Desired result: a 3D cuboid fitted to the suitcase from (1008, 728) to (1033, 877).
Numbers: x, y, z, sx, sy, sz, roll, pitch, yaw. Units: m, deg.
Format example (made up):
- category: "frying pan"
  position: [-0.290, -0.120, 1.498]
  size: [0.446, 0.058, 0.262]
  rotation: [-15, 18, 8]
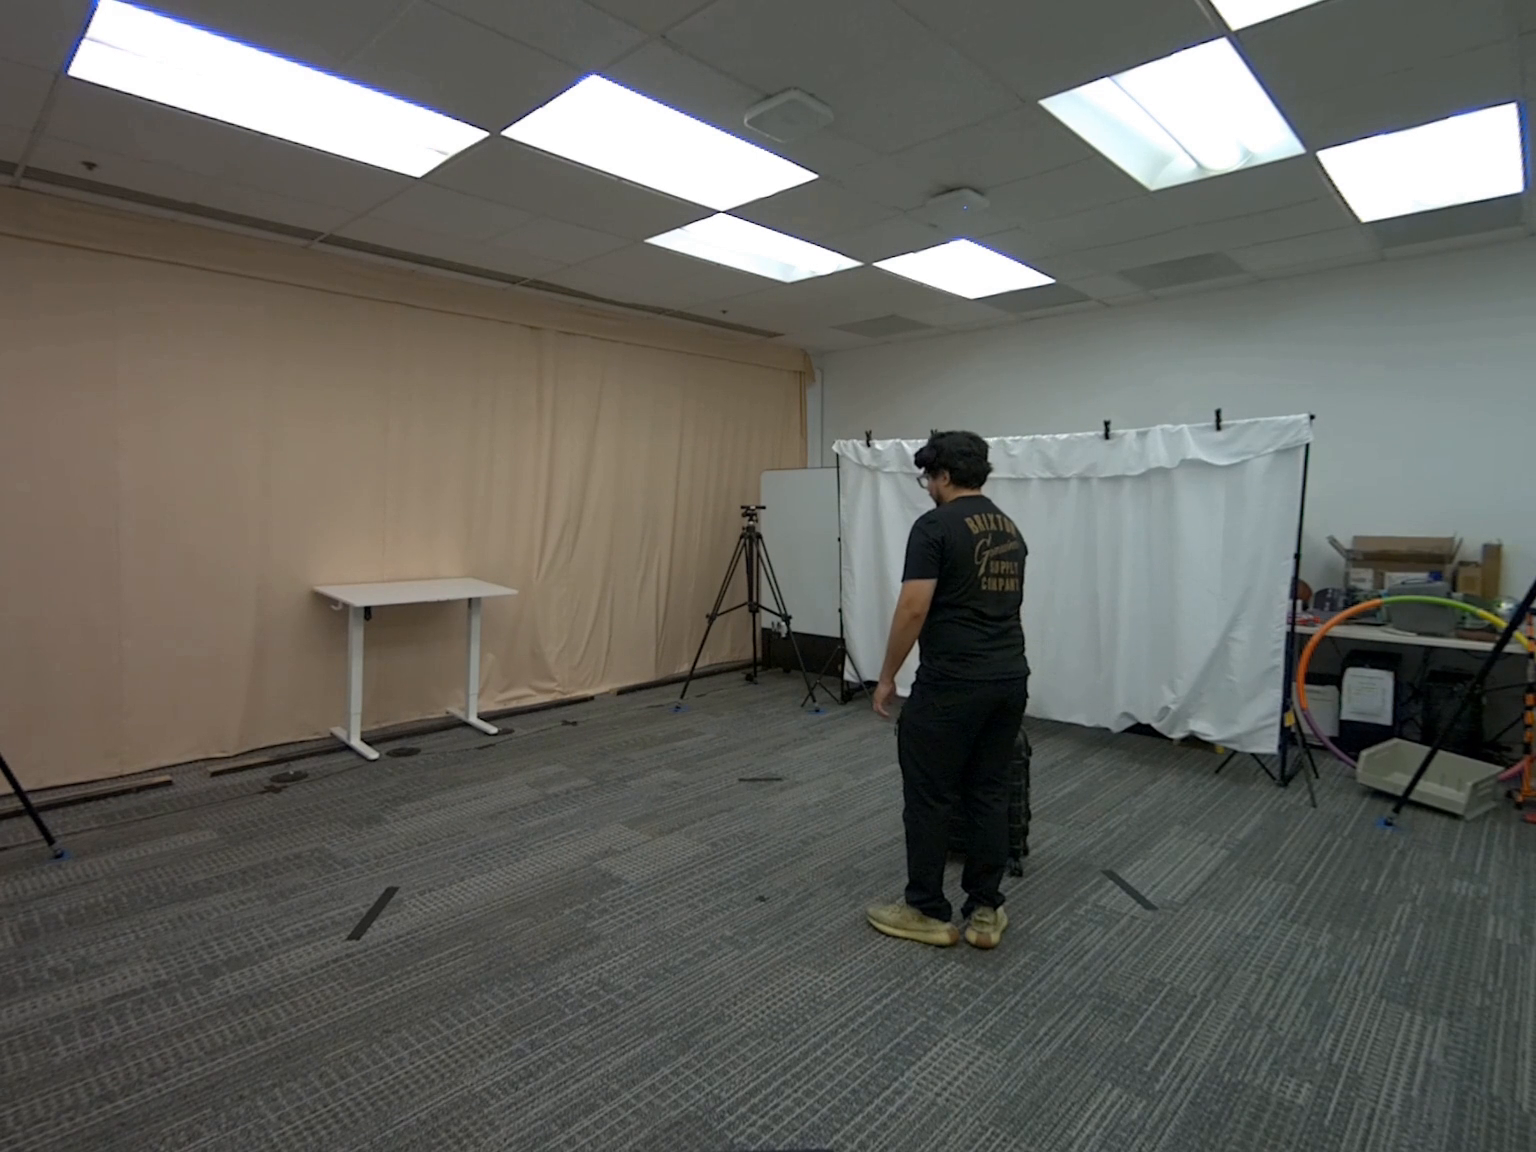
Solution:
- category: "suitcase"
  position: [0.842, 0.636, 3.331]
  size: [0.392, 0.979, 0.251]
  rotation: [0, 0, 20]
